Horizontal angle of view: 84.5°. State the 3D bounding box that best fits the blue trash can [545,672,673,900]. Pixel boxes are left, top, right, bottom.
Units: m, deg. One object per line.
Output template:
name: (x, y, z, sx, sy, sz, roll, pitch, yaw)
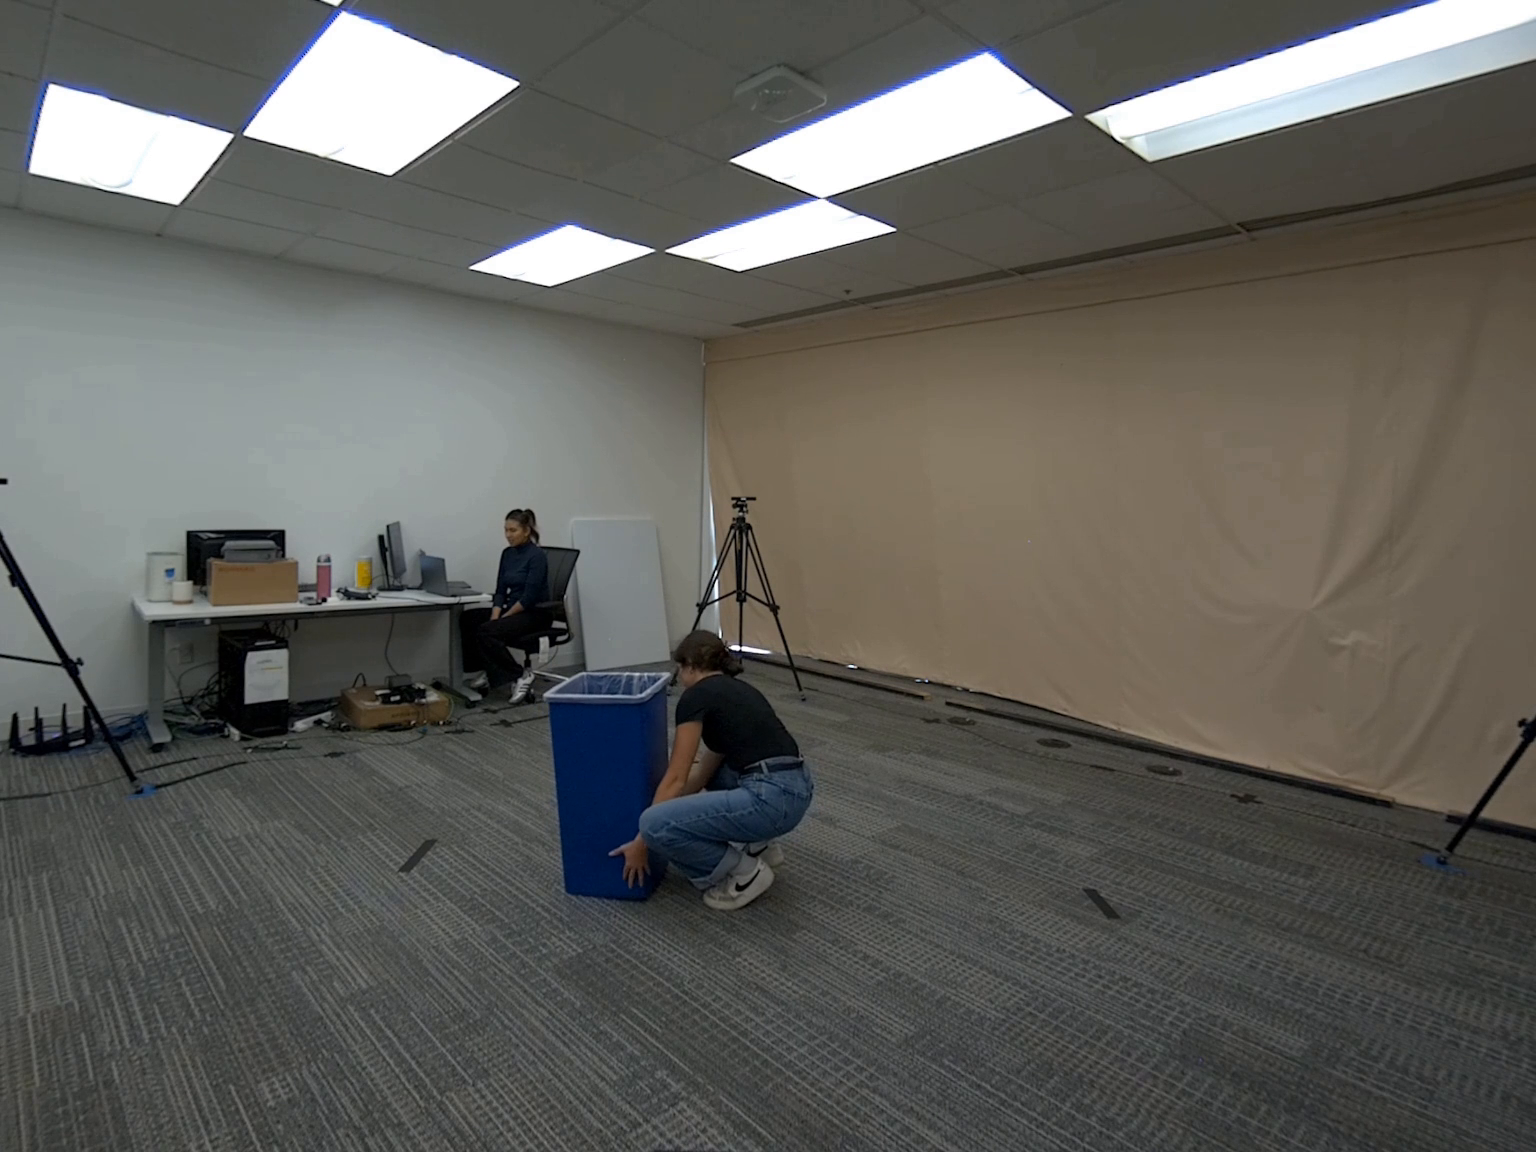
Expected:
blue trash can: (-0.553, 0.738, 3.021, 0.381, 0.712, 0.371, -1, 3, 11)
